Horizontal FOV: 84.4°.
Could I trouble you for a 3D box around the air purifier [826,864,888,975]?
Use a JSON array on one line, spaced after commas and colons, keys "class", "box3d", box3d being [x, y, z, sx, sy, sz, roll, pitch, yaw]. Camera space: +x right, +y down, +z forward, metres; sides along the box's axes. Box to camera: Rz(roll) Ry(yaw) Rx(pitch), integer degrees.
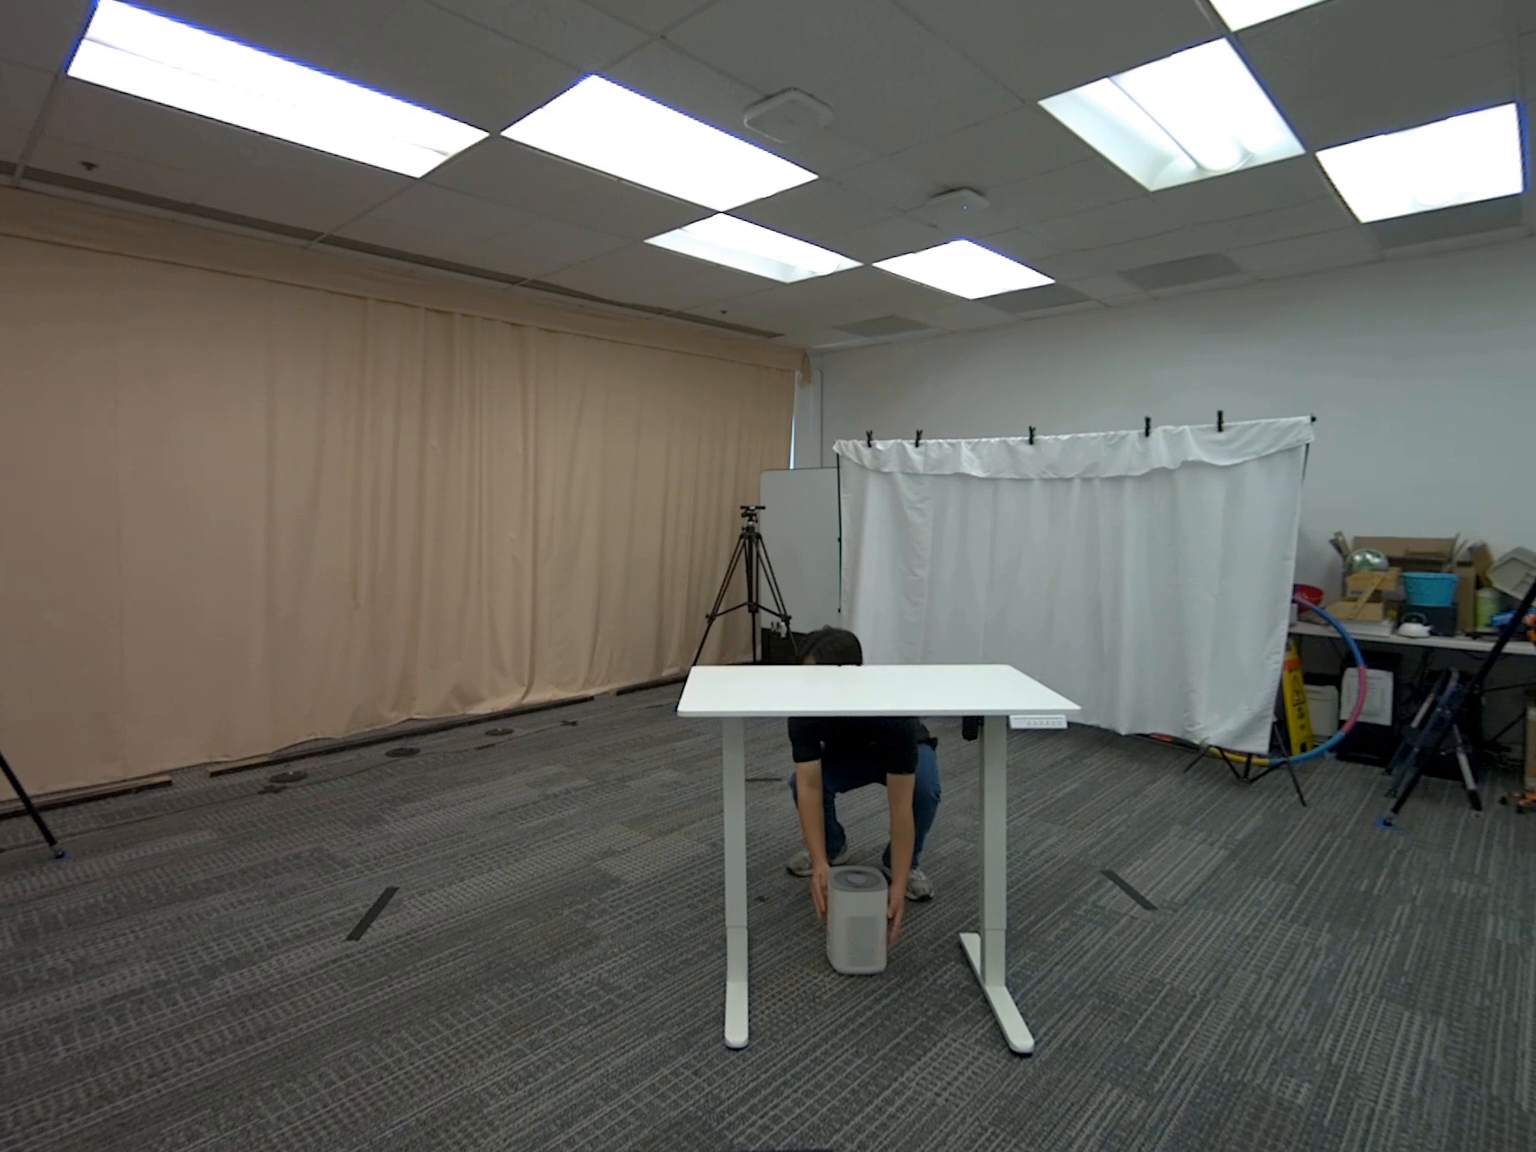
[{"class": "air purifier", "box3d": [0.270, 1.042, 2.560, 0.171, 0.265, 0.172, 1, 4, -4]}]
